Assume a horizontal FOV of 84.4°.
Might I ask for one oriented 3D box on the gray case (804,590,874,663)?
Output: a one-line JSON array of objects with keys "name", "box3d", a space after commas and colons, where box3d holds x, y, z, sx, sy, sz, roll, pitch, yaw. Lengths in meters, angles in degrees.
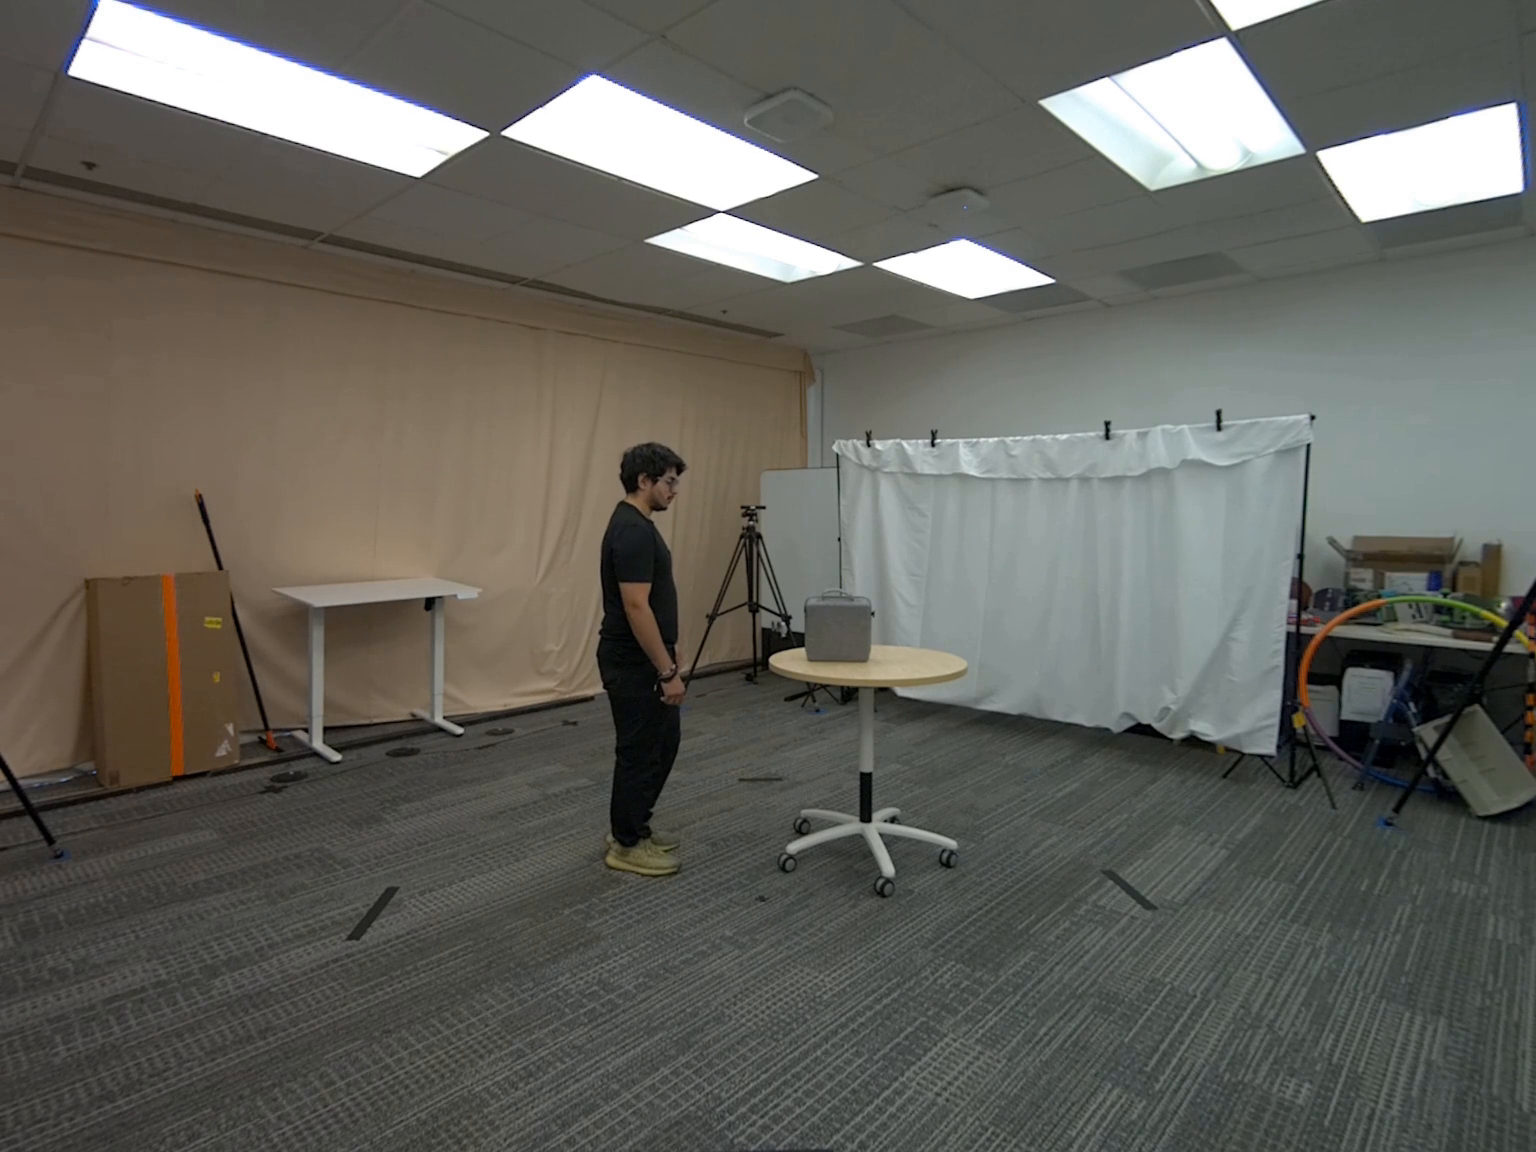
[{"name": "gray case", "box3d": [0.279, 0.206, 3.282, 0.259, 0.258, 0.104, -1, 14, 6]}]
